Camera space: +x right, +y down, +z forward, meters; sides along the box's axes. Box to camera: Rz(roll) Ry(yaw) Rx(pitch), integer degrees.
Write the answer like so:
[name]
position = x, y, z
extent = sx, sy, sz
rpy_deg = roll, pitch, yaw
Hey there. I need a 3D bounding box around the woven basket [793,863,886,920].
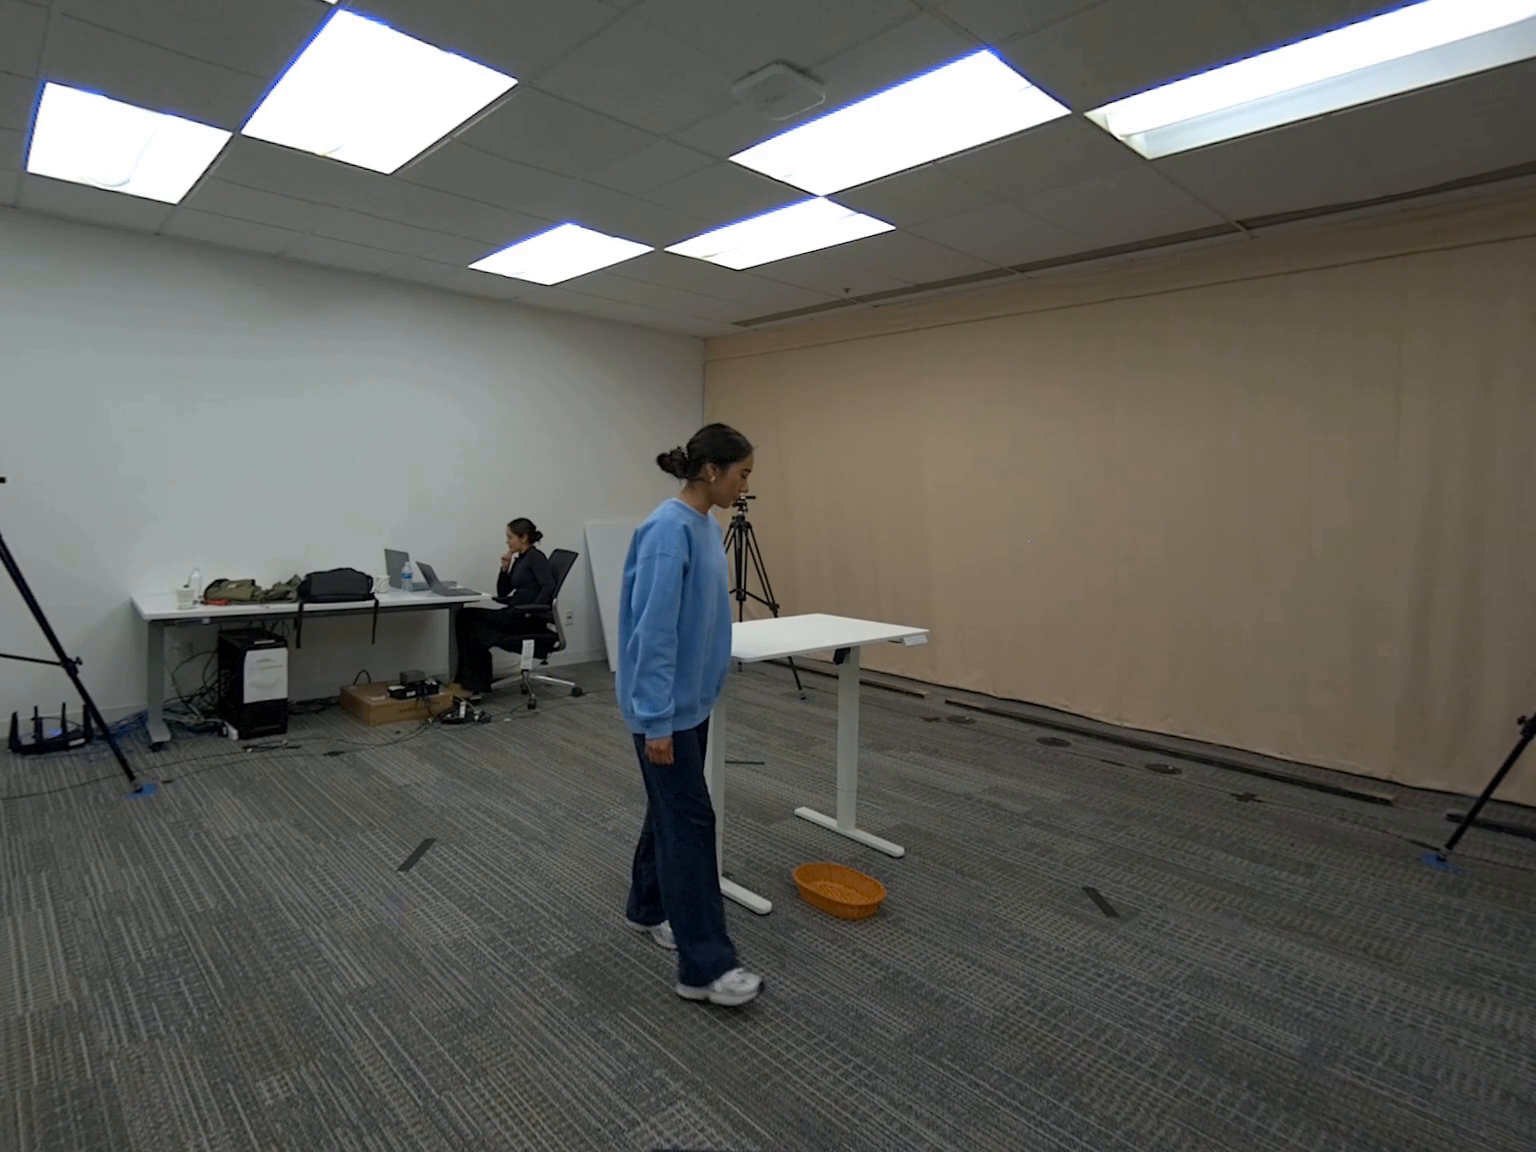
[woven basket]
position = 0.235, 1.086, 2.916
extent = 0.246, 0.073, 0.359
rpy_deg = -1, 5, -41
